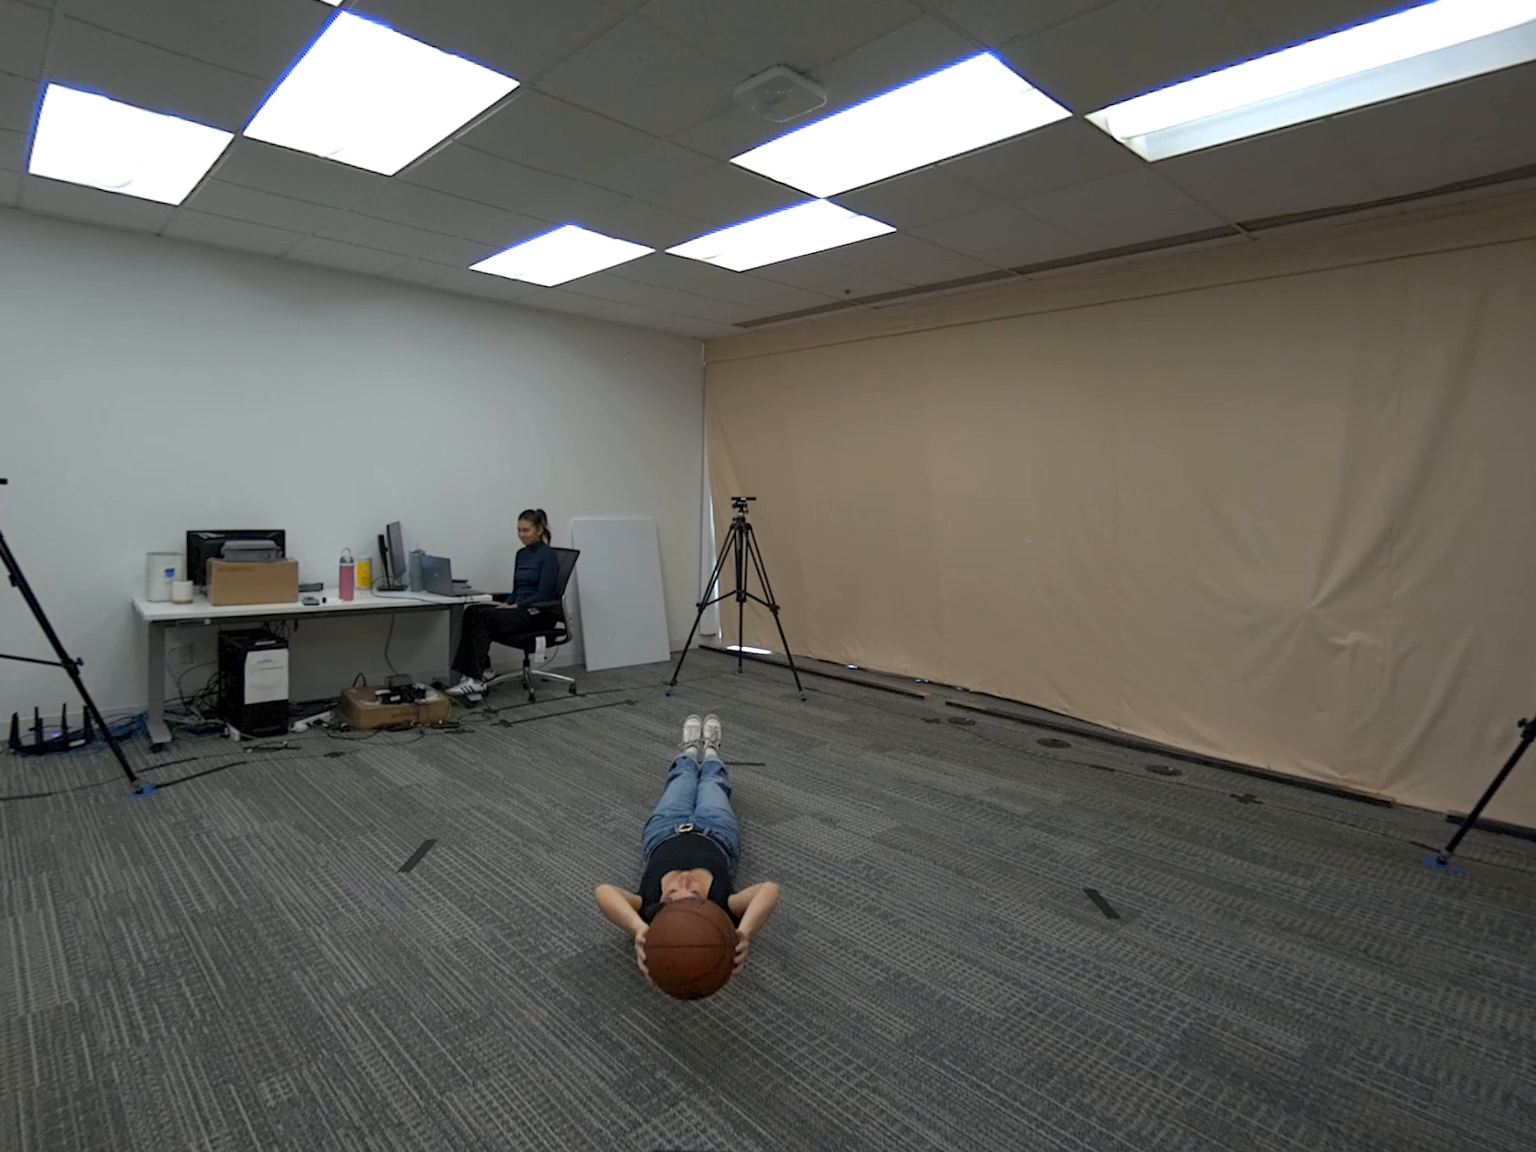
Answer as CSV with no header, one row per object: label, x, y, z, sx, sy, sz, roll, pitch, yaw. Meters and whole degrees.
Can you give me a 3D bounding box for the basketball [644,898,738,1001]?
basketball,-0.202,0.937,2.153,0.236,0.235,0.237,1,4,-1
